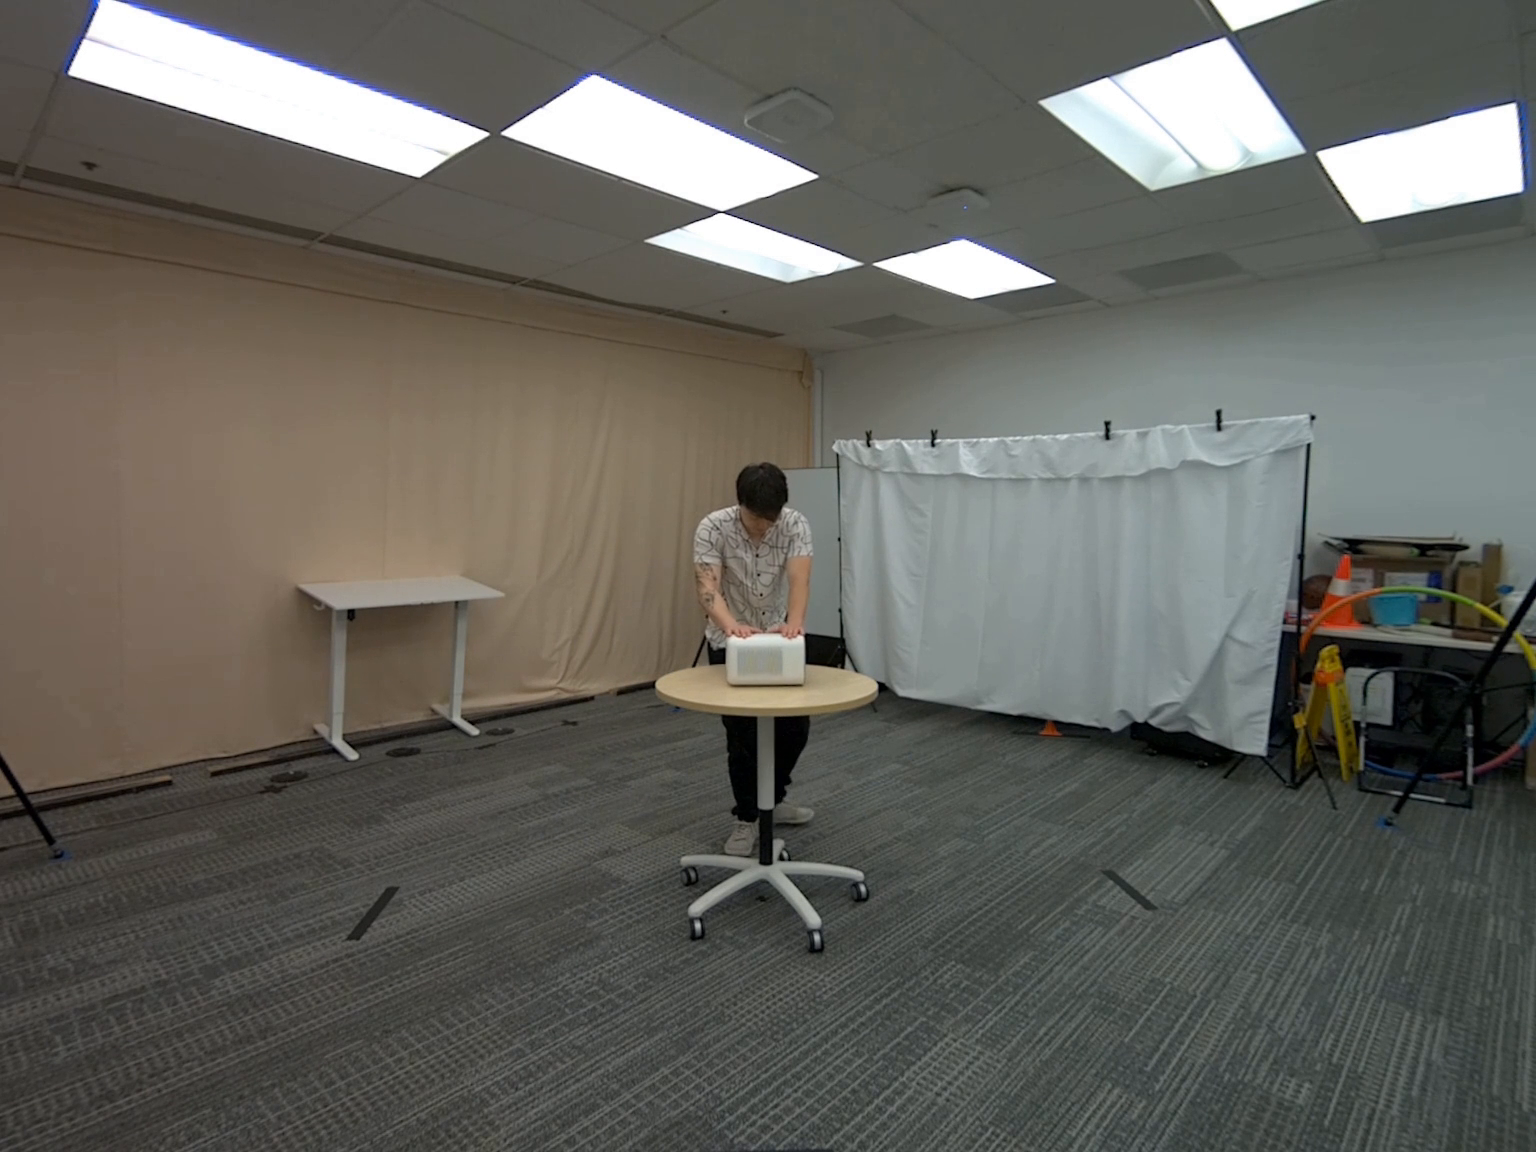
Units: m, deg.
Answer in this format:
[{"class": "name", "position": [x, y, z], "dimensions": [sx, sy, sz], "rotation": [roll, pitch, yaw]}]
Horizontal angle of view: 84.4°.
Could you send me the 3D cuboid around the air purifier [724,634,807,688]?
[{"class": "air purifier", "position": [-0.015, 0.277, 2.906], "dimensions": [0.265, 0.172, 0.171], "rotation": [-2, 0, -2]}]
